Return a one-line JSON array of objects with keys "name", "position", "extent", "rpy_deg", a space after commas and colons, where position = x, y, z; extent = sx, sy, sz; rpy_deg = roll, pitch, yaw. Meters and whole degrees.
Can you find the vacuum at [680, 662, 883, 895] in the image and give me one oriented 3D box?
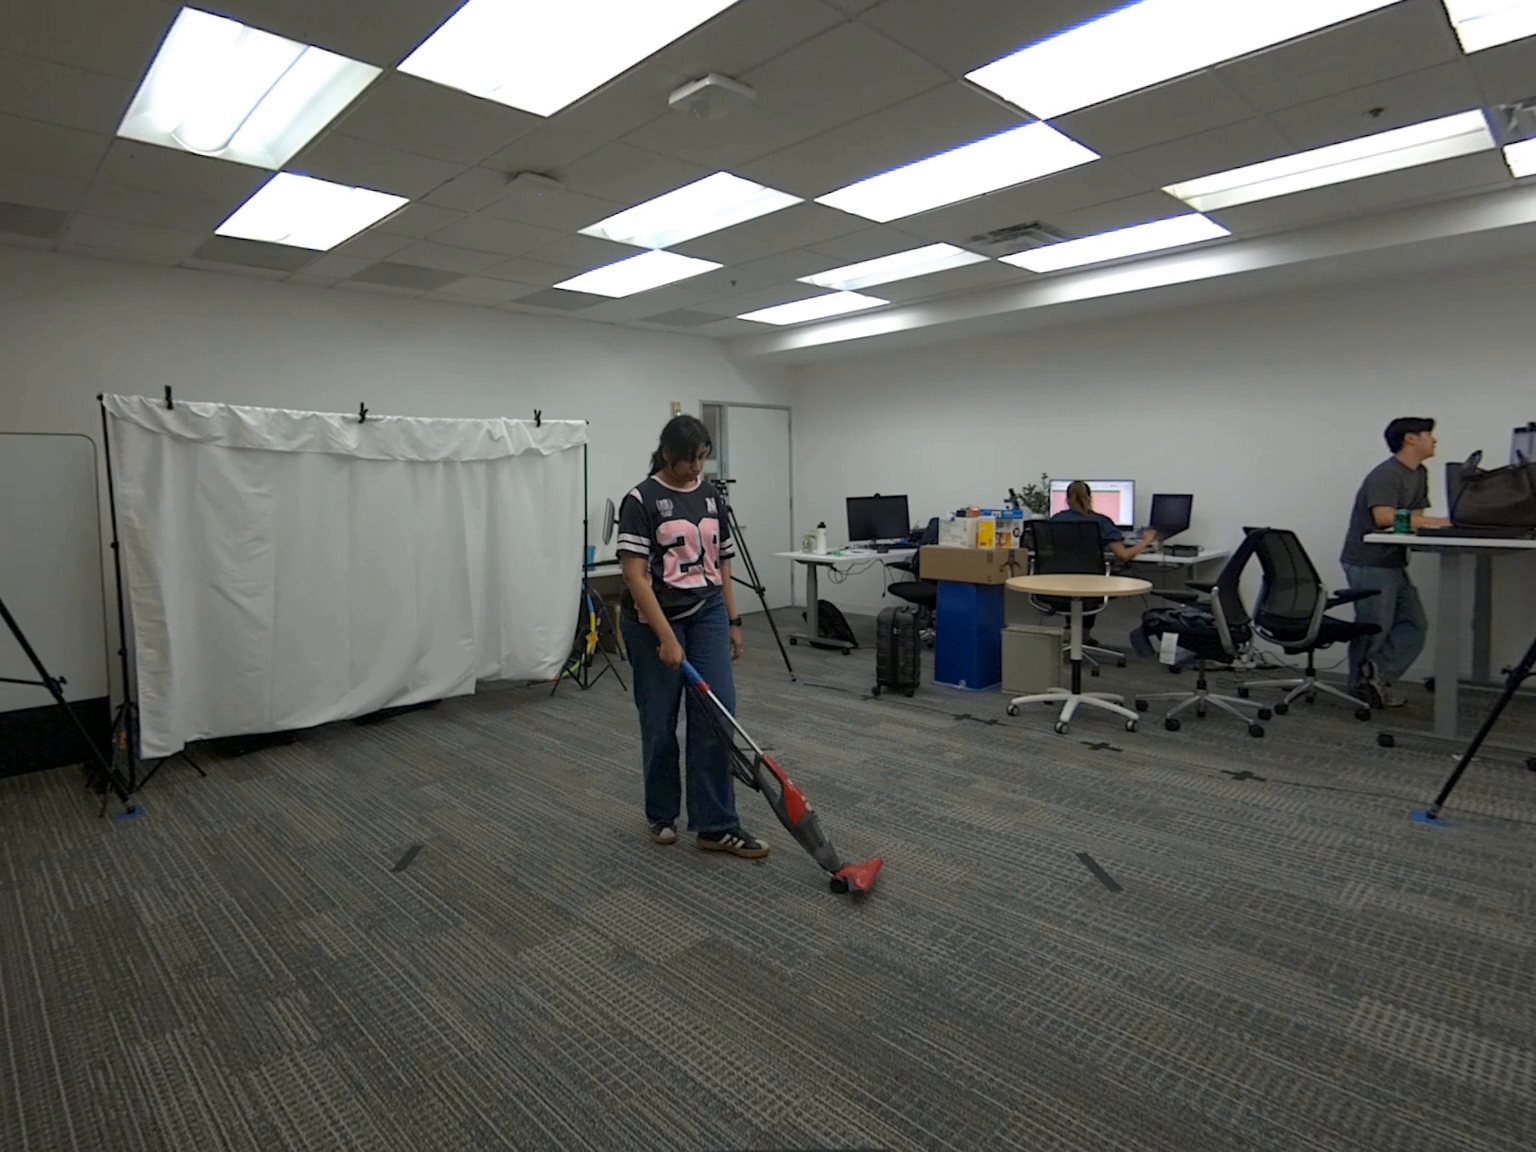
[{"name": "vacuum", "position": [-0.034, 0.659, 3.037], "extent": [0.144, 1.069, 0.248], "rpy_deg": [-47, -15, 17]}]
